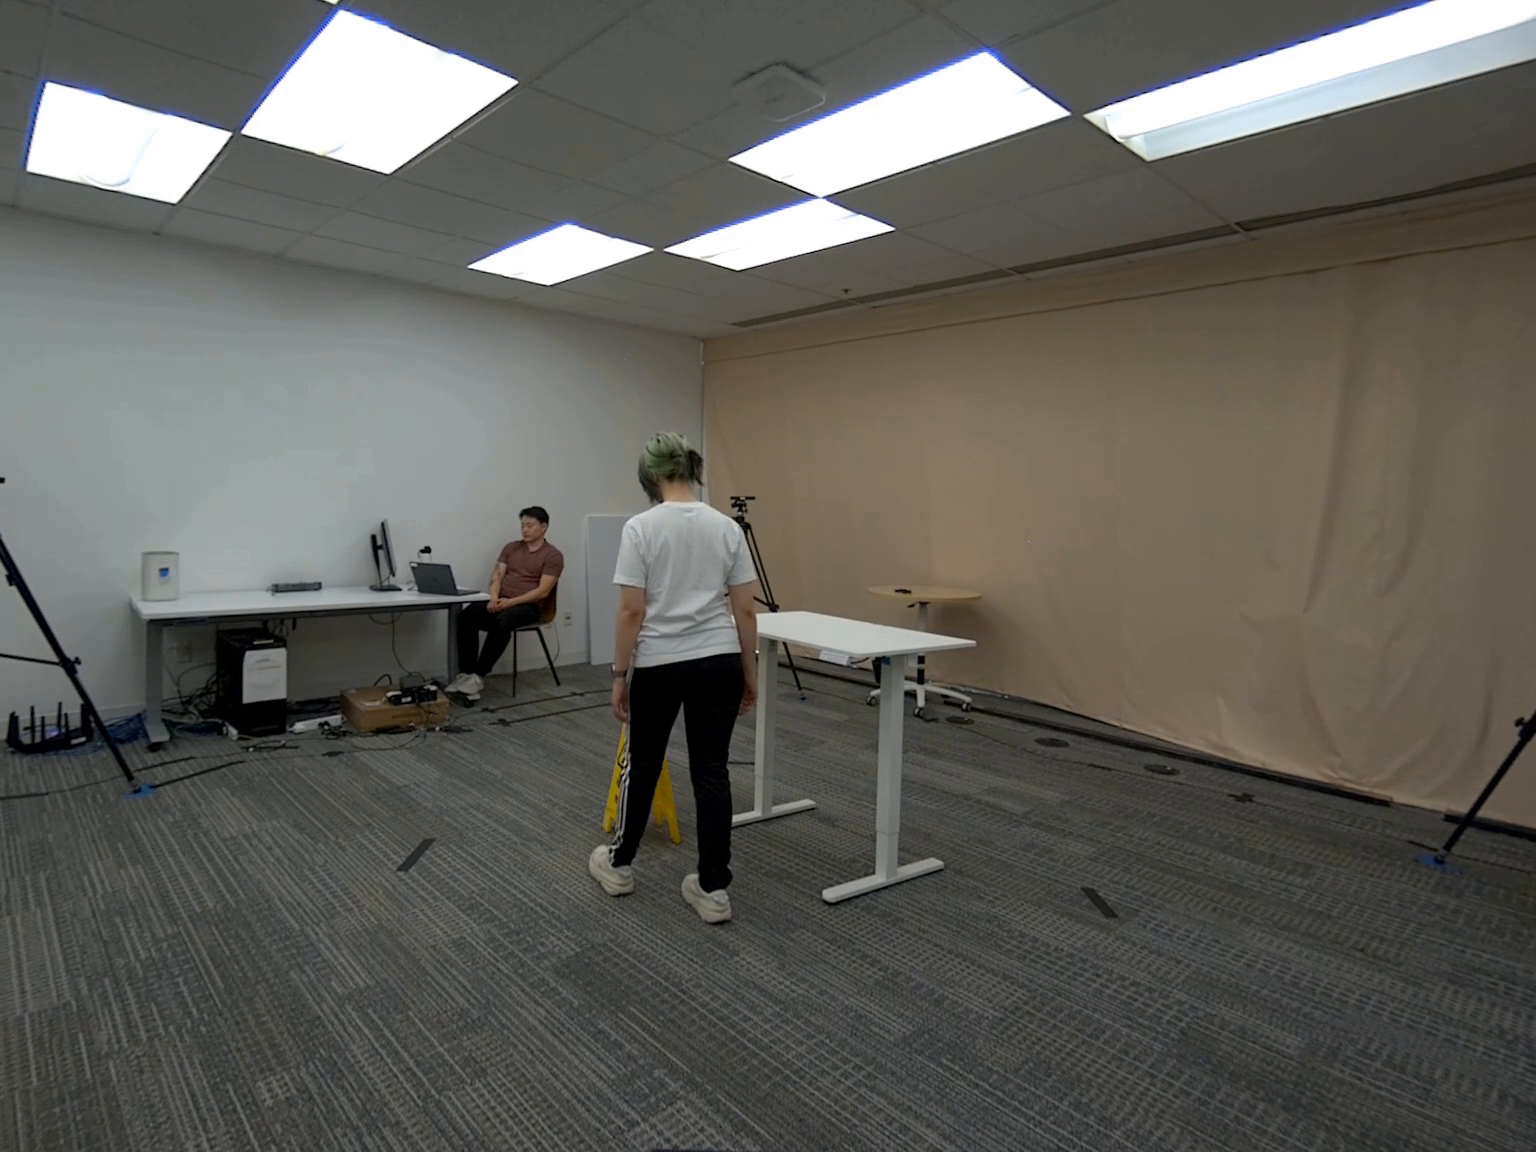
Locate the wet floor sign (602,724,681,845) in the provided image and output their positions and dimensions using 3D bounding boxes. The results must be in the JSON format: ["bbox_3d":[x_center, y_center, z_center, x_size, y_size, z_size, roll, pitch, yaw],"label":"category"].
[{"bbox_3d":[-0.523,0.743,3.436,0.285,0.645,0.287,-1,3,-23],"label":"wet floor sign"}]
